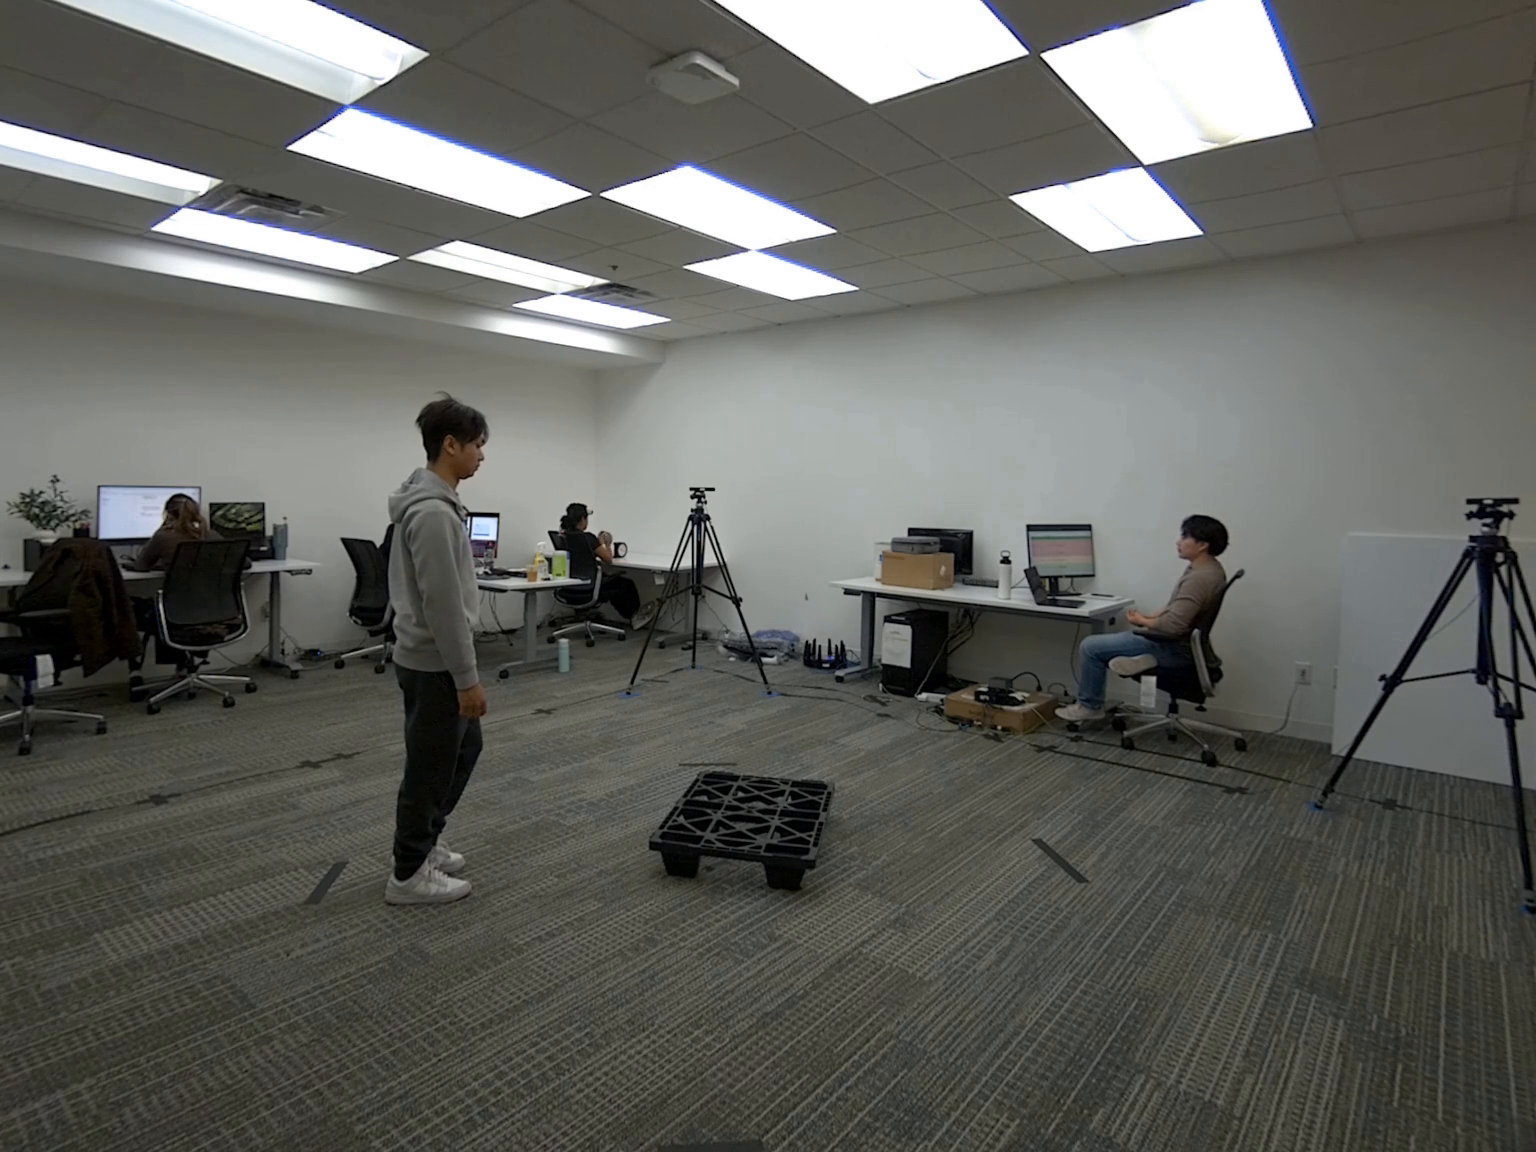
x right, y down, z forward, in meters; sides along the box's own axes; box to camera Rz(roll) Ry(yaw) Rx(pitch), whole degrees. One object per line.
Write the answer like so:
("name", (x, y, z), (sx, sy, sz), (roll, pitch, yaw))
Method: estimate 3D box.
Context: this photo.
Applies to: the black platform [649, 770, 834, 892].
("black platform", (-0.083, 0.975, 3.347), (0.613, 0.143, 0.798), (1, 5, 10))
